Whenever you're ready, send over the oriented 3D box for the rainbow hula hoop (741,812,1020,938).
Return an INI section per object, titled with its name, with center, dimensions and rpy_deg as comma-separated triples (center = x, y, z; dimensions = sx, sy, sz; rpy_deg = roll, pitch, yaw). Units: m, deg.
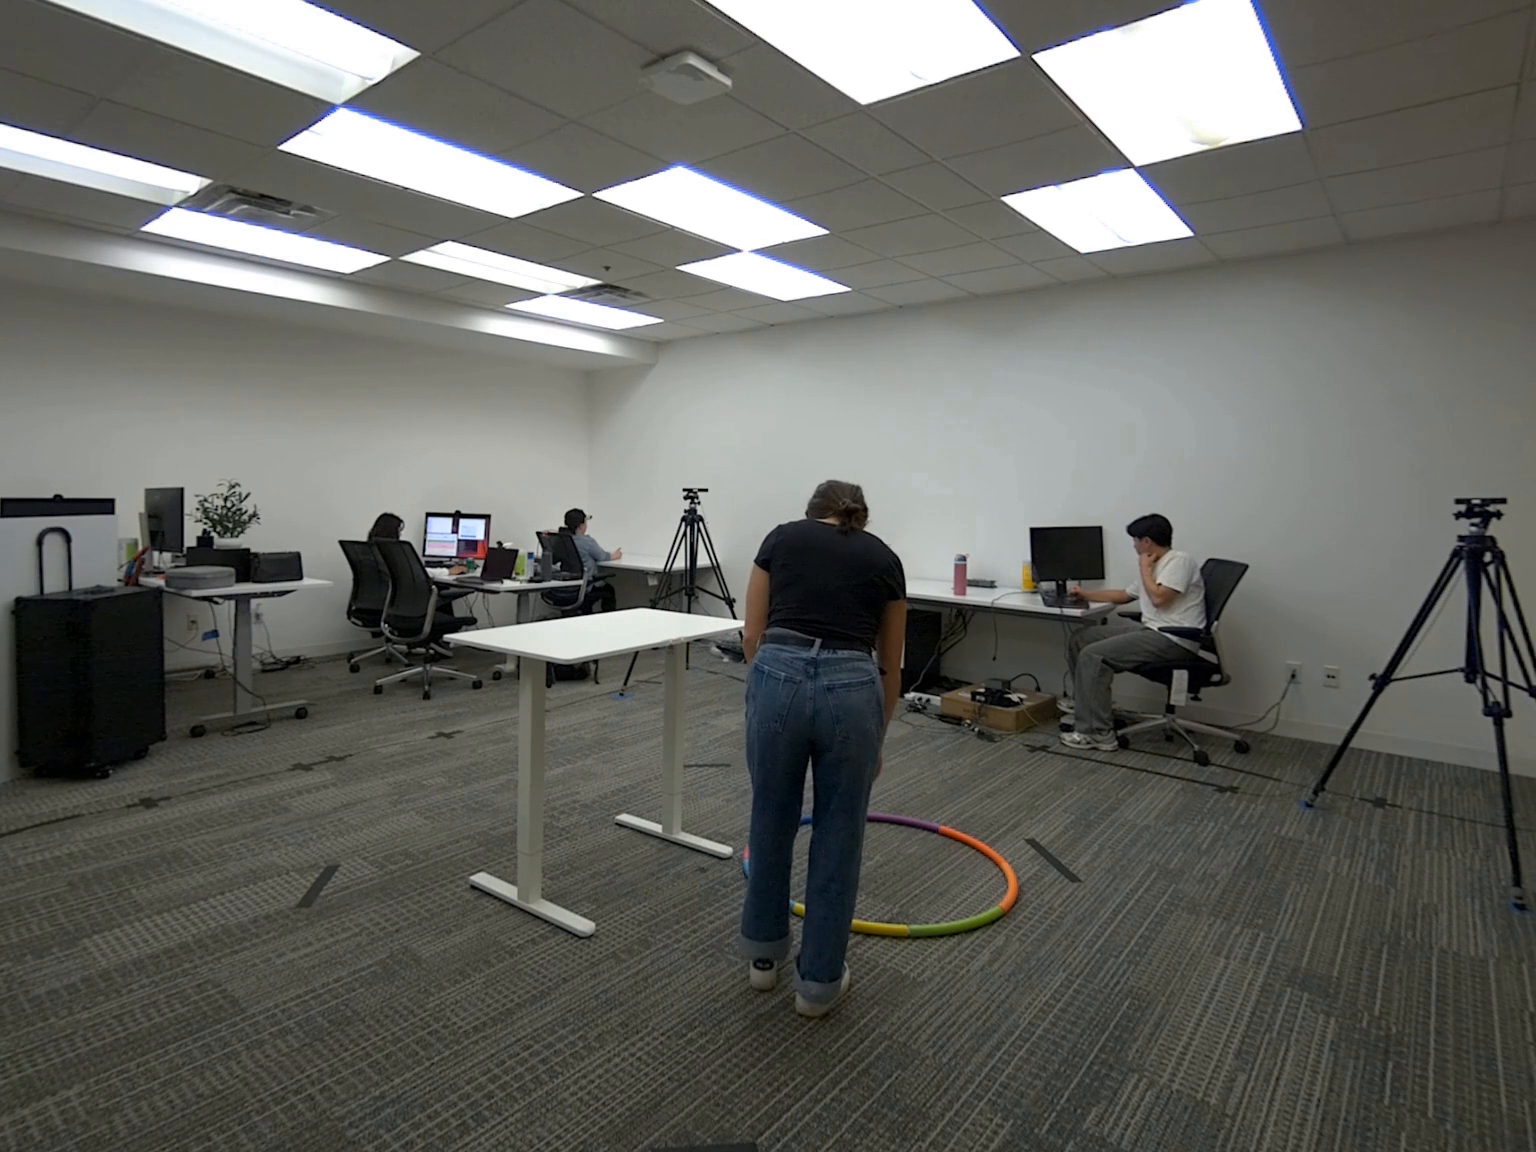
[rainbow hula hoop]
center = 0.398, 1.042, 3.143
dimensions = 0.978, 0.035, 0.984
rpy_deg = 1, 6, -2
